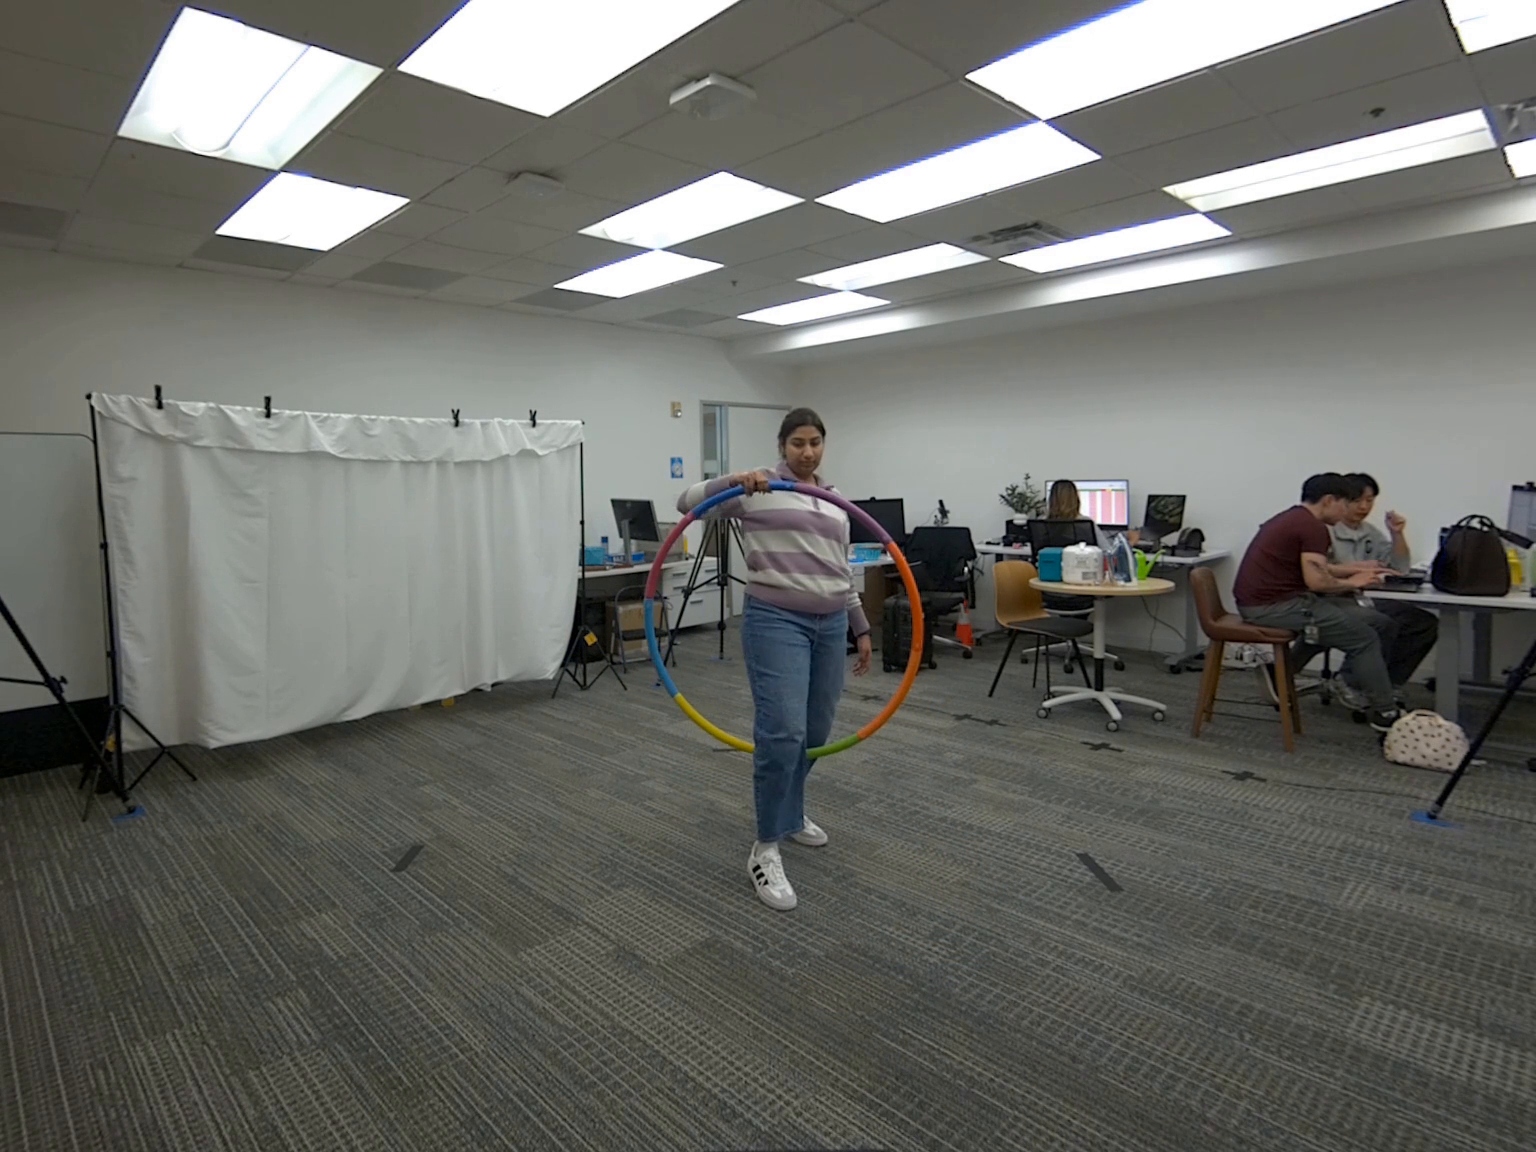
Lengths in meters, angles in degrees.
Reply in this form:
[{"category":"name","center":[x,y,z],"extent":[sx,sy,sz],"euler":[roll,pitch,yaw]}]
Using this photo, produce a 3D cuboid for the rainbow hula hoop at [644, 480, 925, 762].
[{"category":"rainbow hula hoop","center":[0.021,0.151,2.962],"extent":[1.001,0.977,0.051],"euler":[1,8,17]}]
